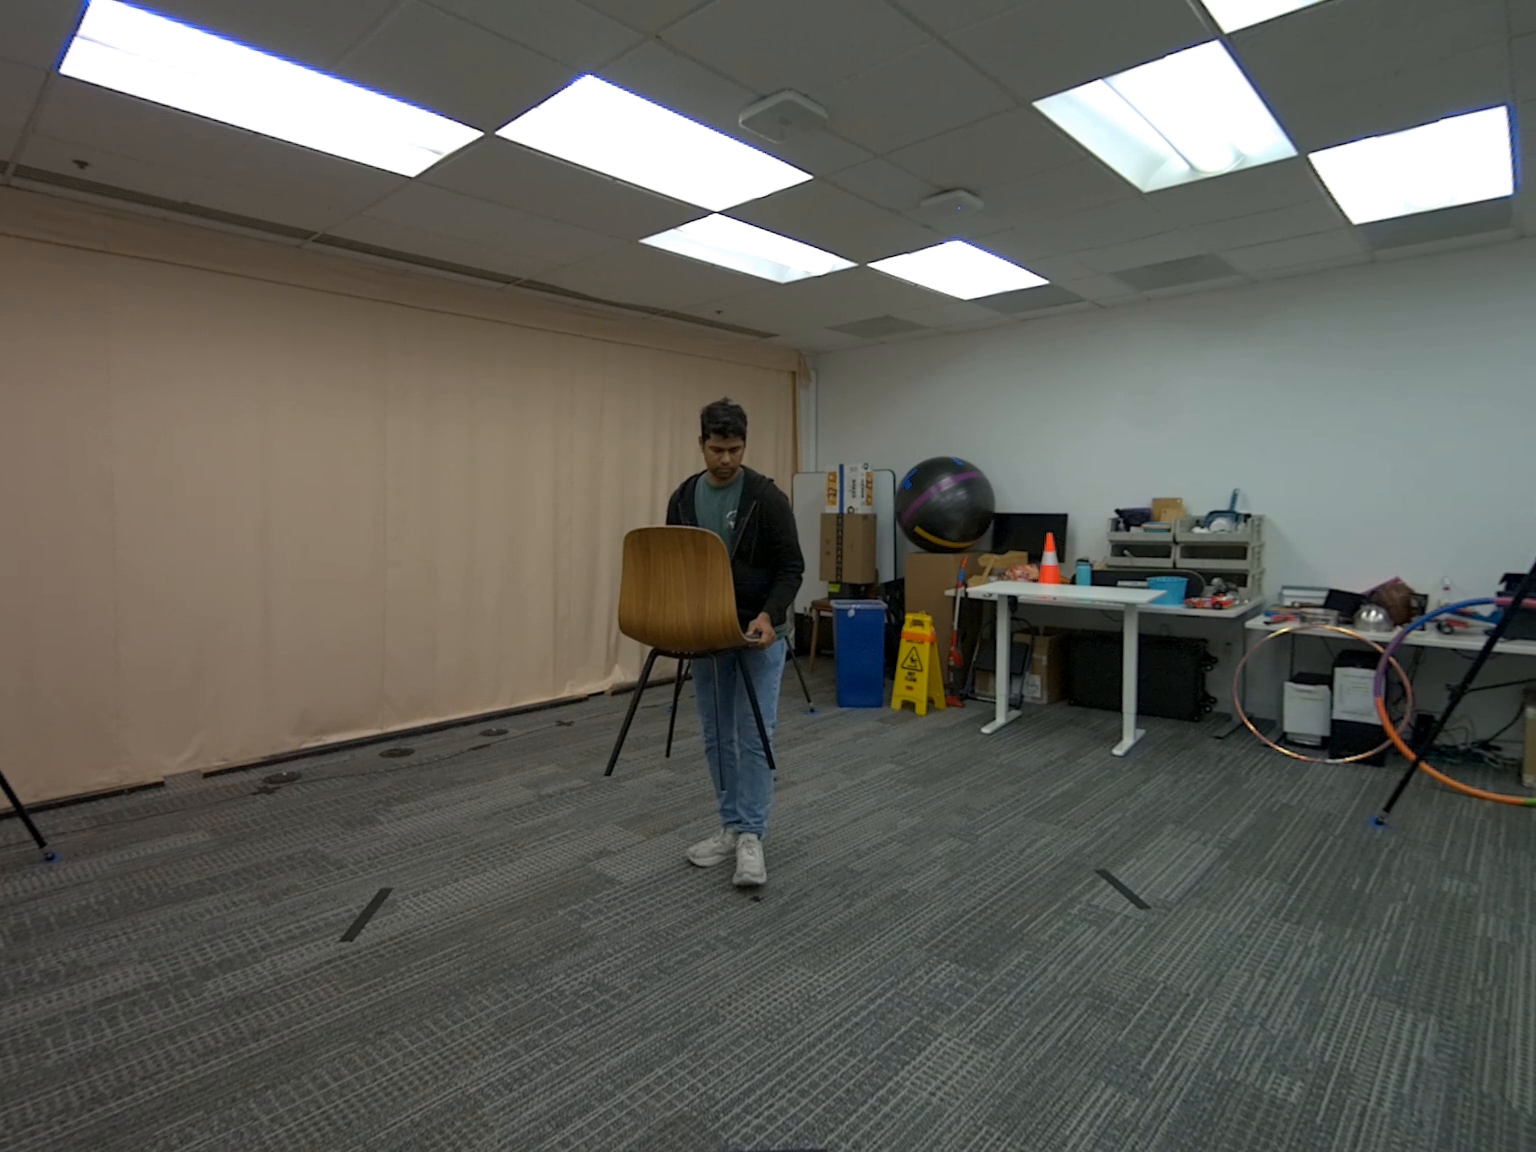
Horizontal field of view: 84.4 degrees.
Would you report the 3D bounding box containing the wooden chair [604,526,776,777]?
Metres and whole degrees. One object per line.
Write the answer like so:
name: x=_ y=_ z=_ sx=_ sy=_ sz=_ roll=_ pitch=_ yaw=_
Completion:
wooden chair: x=-0.240 y=0.275 z=2.991 sx=0.490 sy=0.878 sz=0.510 roll=0 pitch=-1 yaw=23
